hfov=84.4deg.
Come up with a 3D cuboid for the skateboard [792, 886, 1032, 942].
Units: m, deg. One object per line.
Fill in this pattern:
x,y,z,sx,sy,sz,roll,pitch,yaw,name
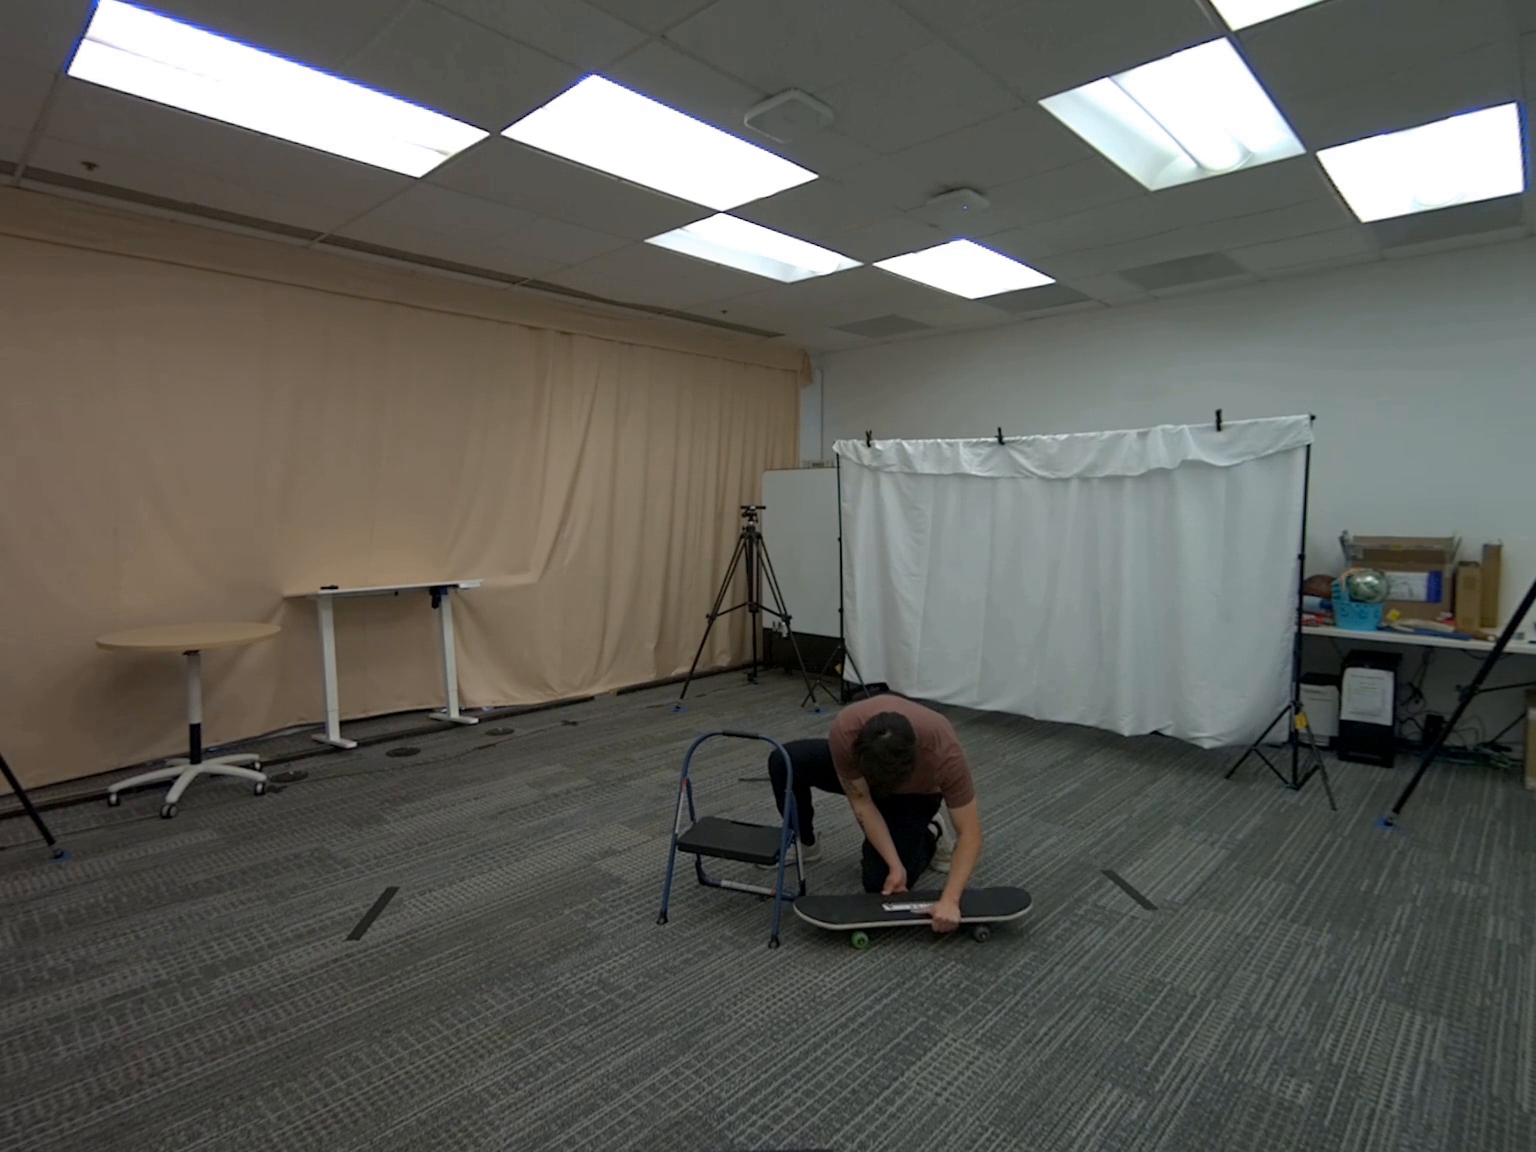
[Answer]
0.464,1.094,2.746,0.780,0.110,0.196,-2,9,-6,skateboard
